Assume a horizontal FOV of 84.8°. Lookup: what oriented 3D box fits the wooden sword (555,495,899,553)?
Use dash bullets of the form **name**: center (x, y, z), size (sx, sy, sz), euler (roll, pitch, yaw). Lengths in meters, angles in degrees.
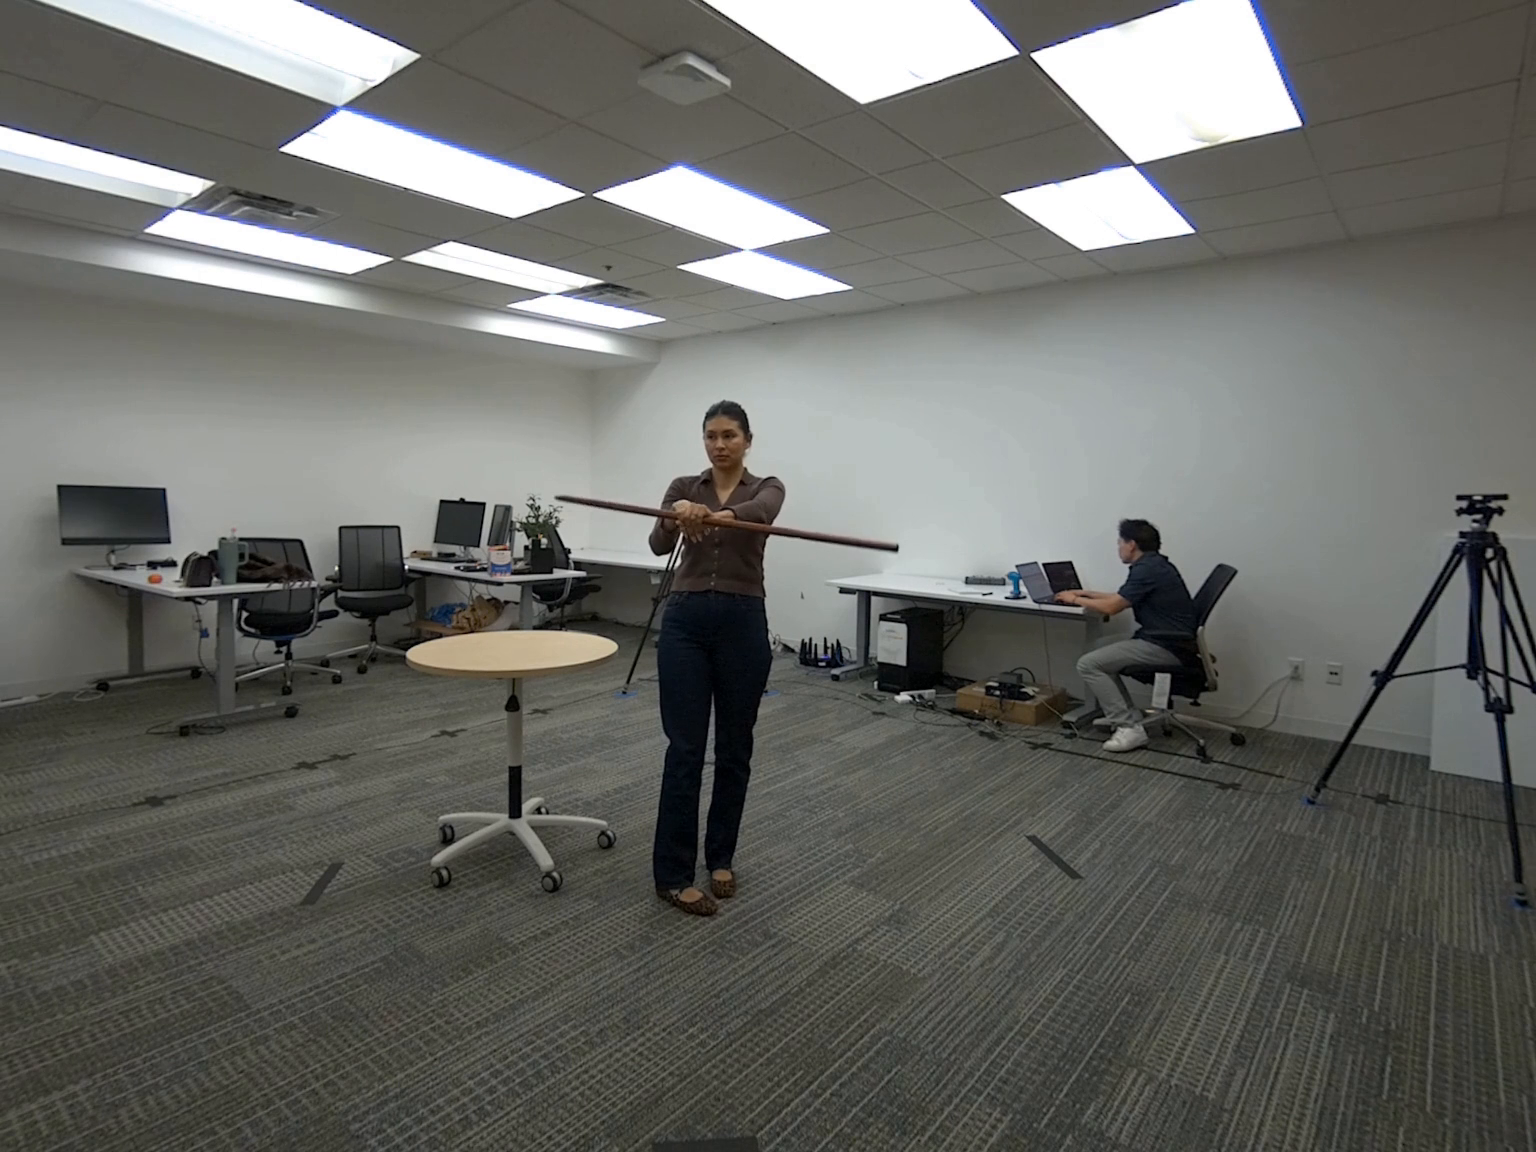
- **wooden sword**: center (-0.121, -0.155, 2.430), size (1.045, 0.024, 0.049), euler (10, -25, 17)
